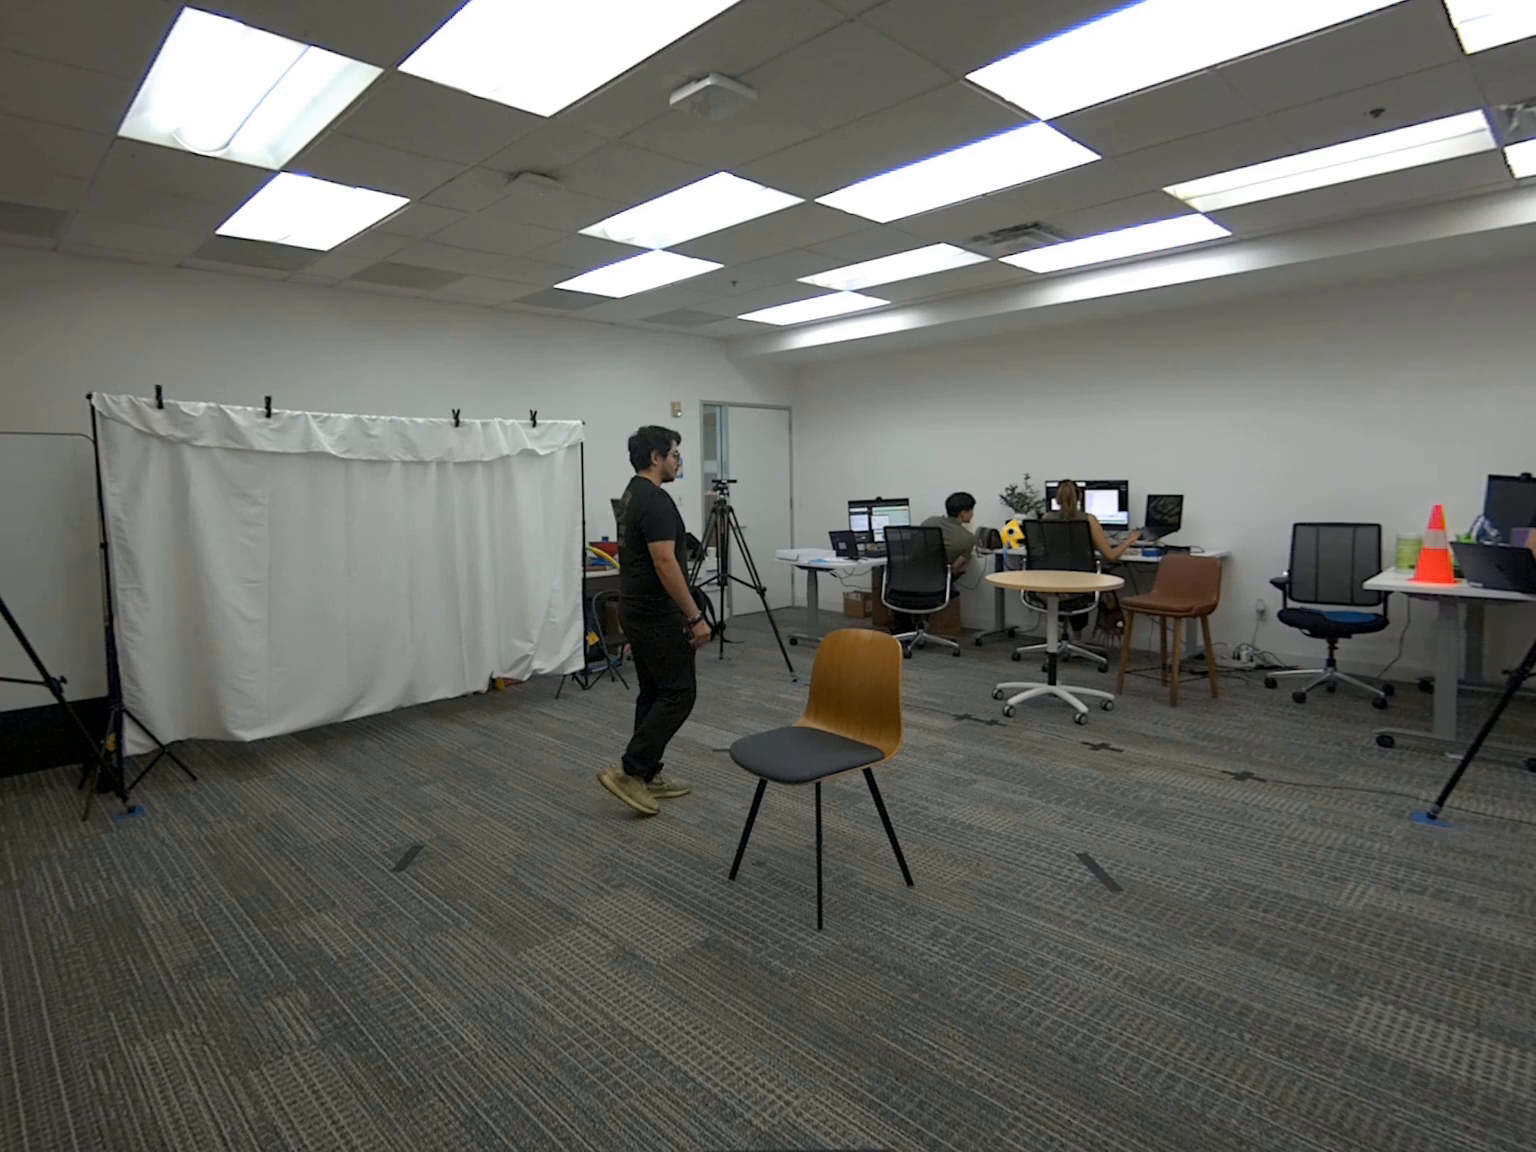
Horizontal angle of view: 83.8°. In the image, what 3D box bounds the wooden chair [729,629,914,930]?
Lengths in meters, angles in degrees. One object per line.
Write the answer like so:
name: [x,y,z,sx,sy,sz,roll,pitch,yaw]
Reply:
wooden chair: [0.170,0.637,2.918,0.508,0.876,0.493,2,2,-40]
